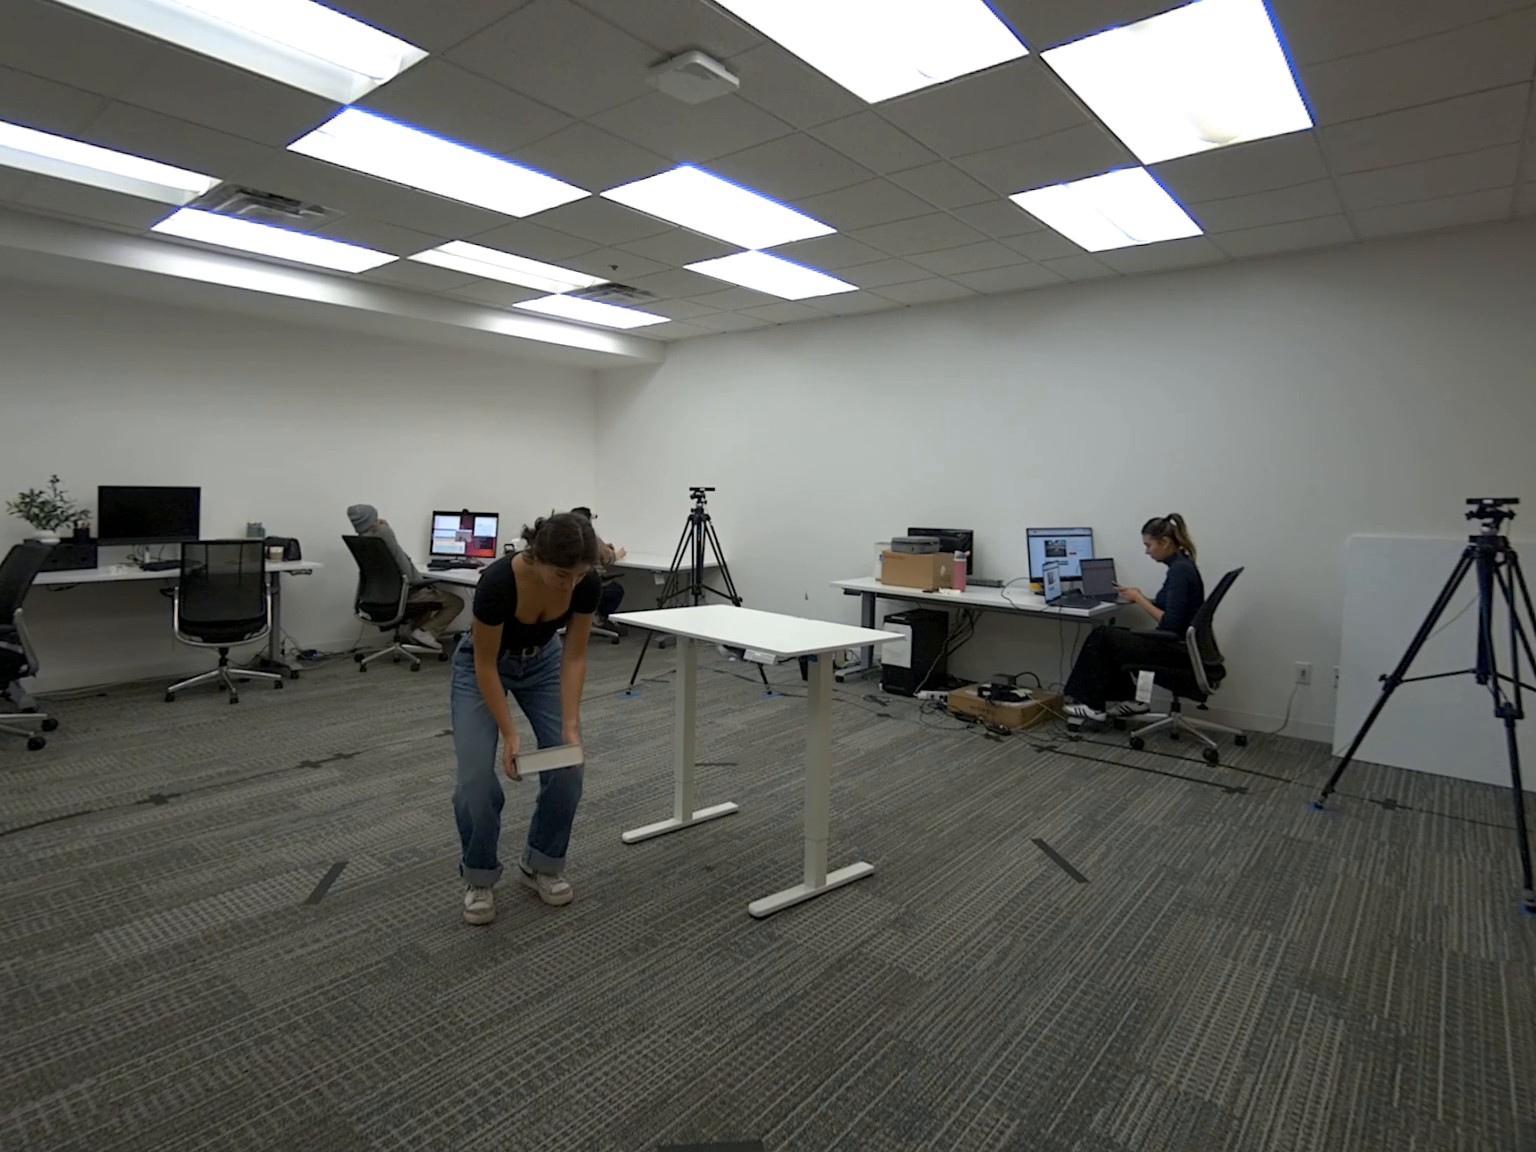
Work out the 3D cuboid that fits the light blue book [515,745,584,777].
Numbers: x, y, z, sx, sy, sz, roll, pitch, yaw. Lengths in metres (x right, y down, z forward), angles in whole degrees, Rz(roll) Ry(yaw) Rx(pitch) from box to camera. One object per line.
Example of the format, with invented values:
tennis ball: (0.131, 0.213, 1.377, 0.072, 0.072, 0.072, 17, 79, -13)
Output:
light blue book: (-0.693, 0.579, 2.618, 0.190, 0.060, 0.259, -9, -10, -8)
